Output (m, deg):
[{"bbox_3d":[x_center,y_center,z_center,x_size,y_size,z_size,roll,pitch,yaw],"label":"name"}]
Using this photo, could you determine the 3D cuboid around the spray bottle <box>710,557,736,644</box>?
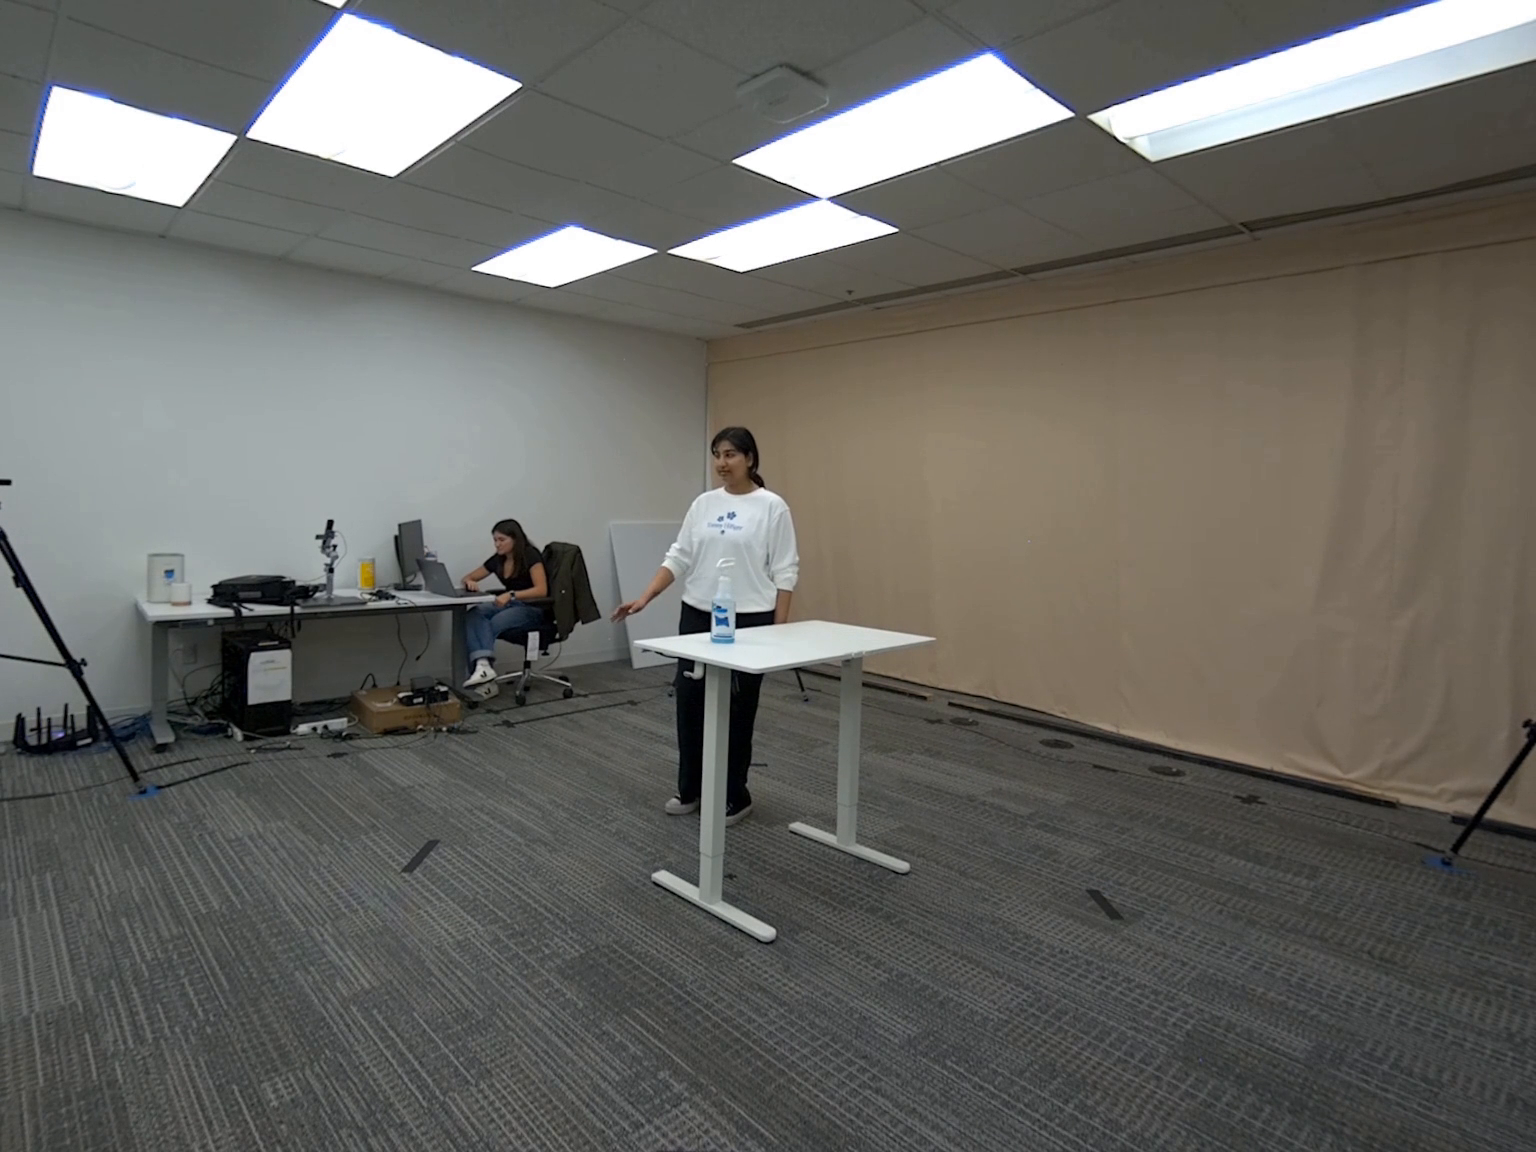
[{"bbox_3d":[-0.162,0.088,2.979,0.088,0.297,0.088,4,1,-21],"label":"spray bottle"}]
